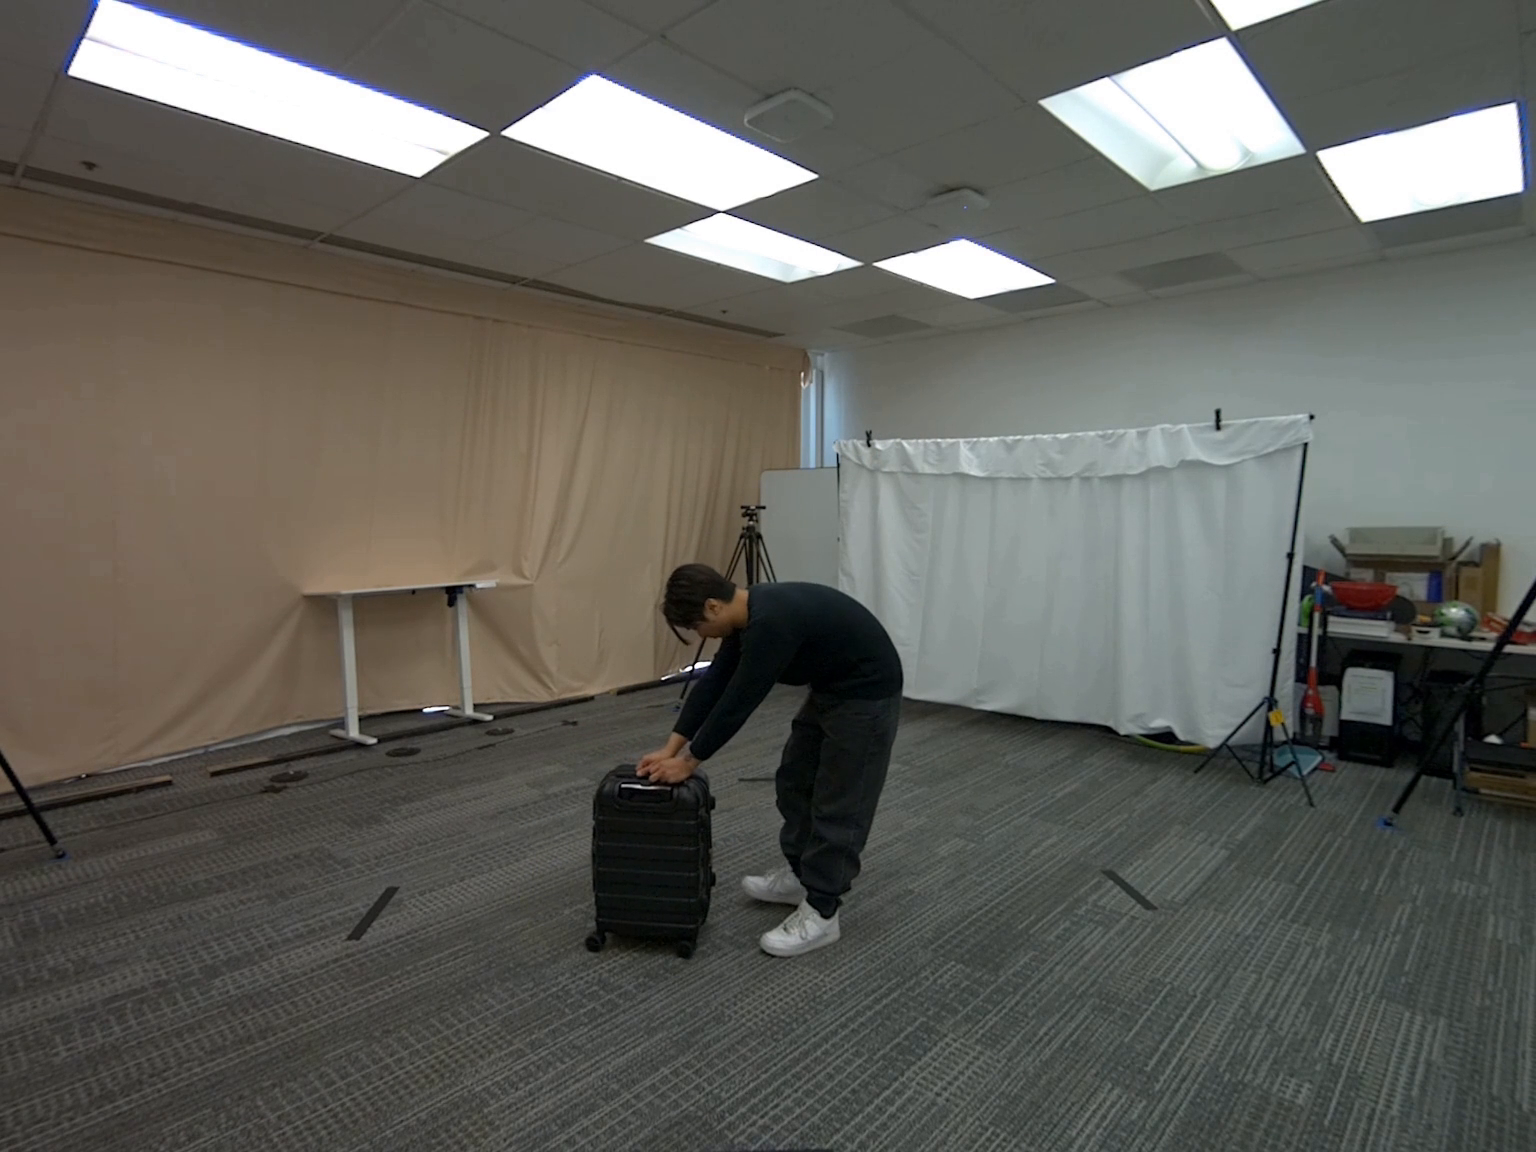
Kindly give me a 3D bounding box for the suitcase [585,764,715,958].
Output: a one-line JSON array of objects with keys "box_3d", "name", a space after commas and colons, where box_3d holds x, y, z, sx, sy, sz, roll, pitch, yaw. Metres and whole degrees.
[{"box_3d": [-0.371, 0.895, 2.713, 0.379, 0.549, 0.246, 1, 1, 7], "name": "suitcase"}]
